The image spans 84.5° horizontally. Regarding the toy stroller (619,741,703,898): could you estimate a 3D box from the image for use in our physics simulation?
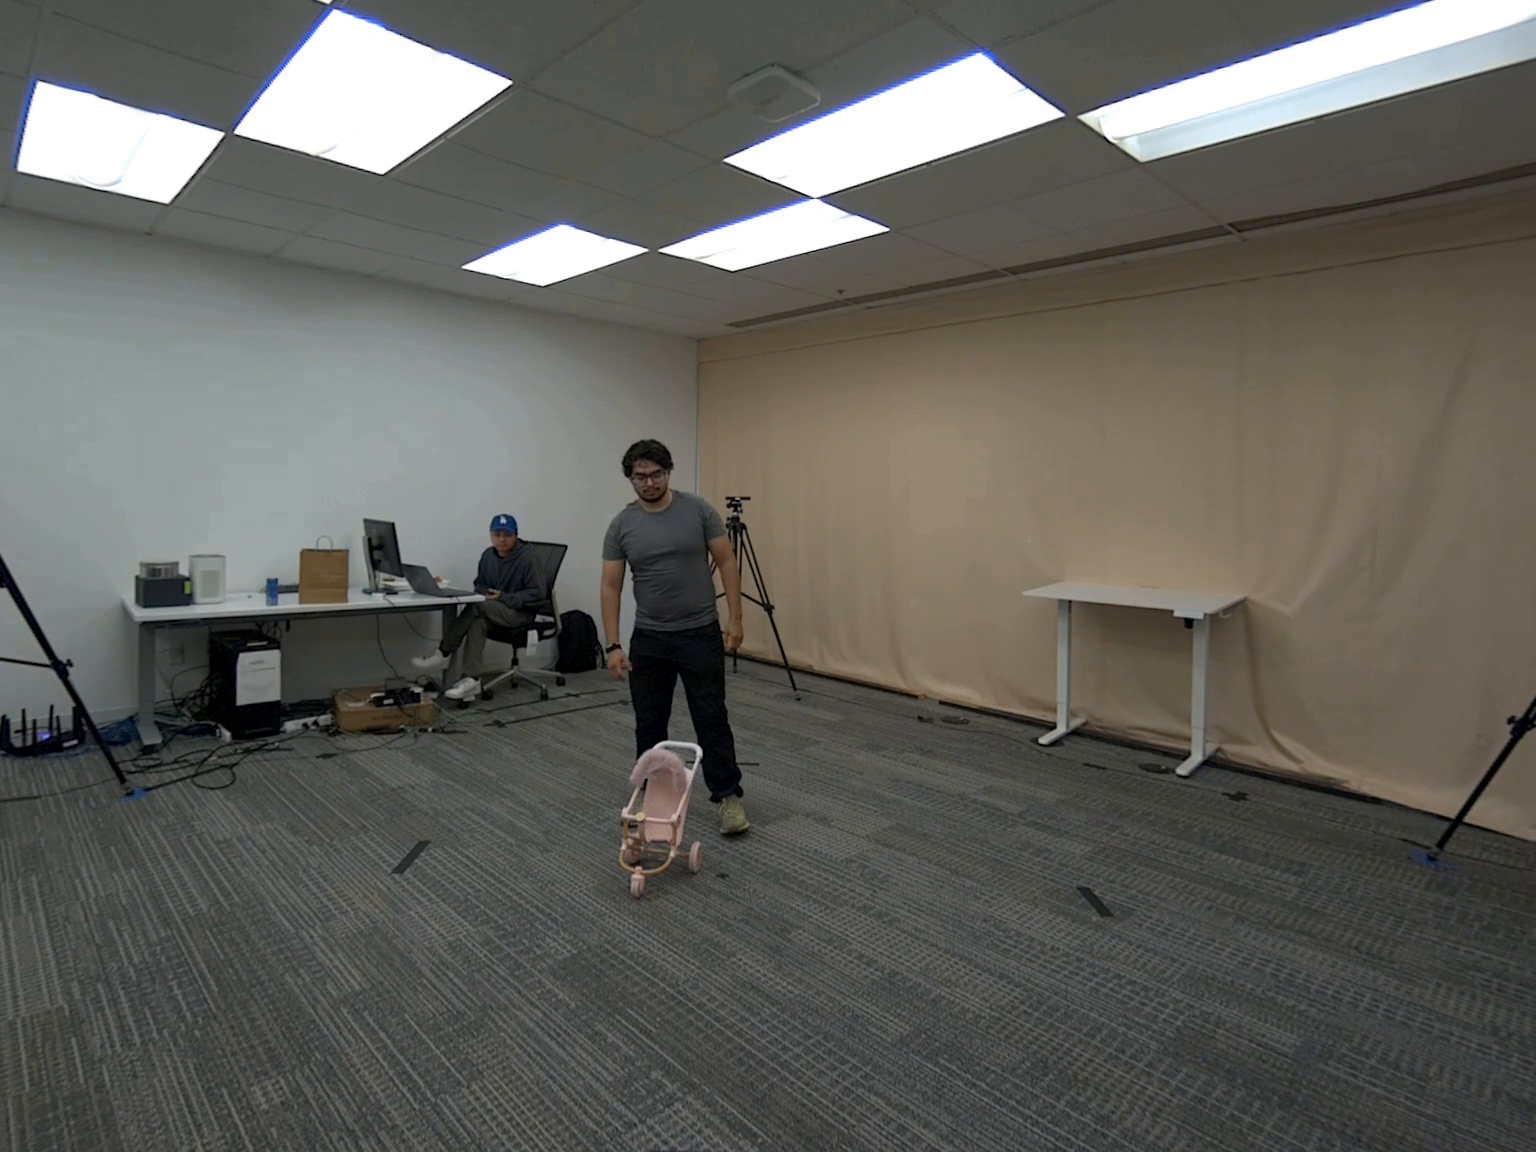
[{"bbox_3d":[-0.412,0.889,3.086,0.286,0.539,0.334,2,-11,19],"label":"toy stroller"}]
